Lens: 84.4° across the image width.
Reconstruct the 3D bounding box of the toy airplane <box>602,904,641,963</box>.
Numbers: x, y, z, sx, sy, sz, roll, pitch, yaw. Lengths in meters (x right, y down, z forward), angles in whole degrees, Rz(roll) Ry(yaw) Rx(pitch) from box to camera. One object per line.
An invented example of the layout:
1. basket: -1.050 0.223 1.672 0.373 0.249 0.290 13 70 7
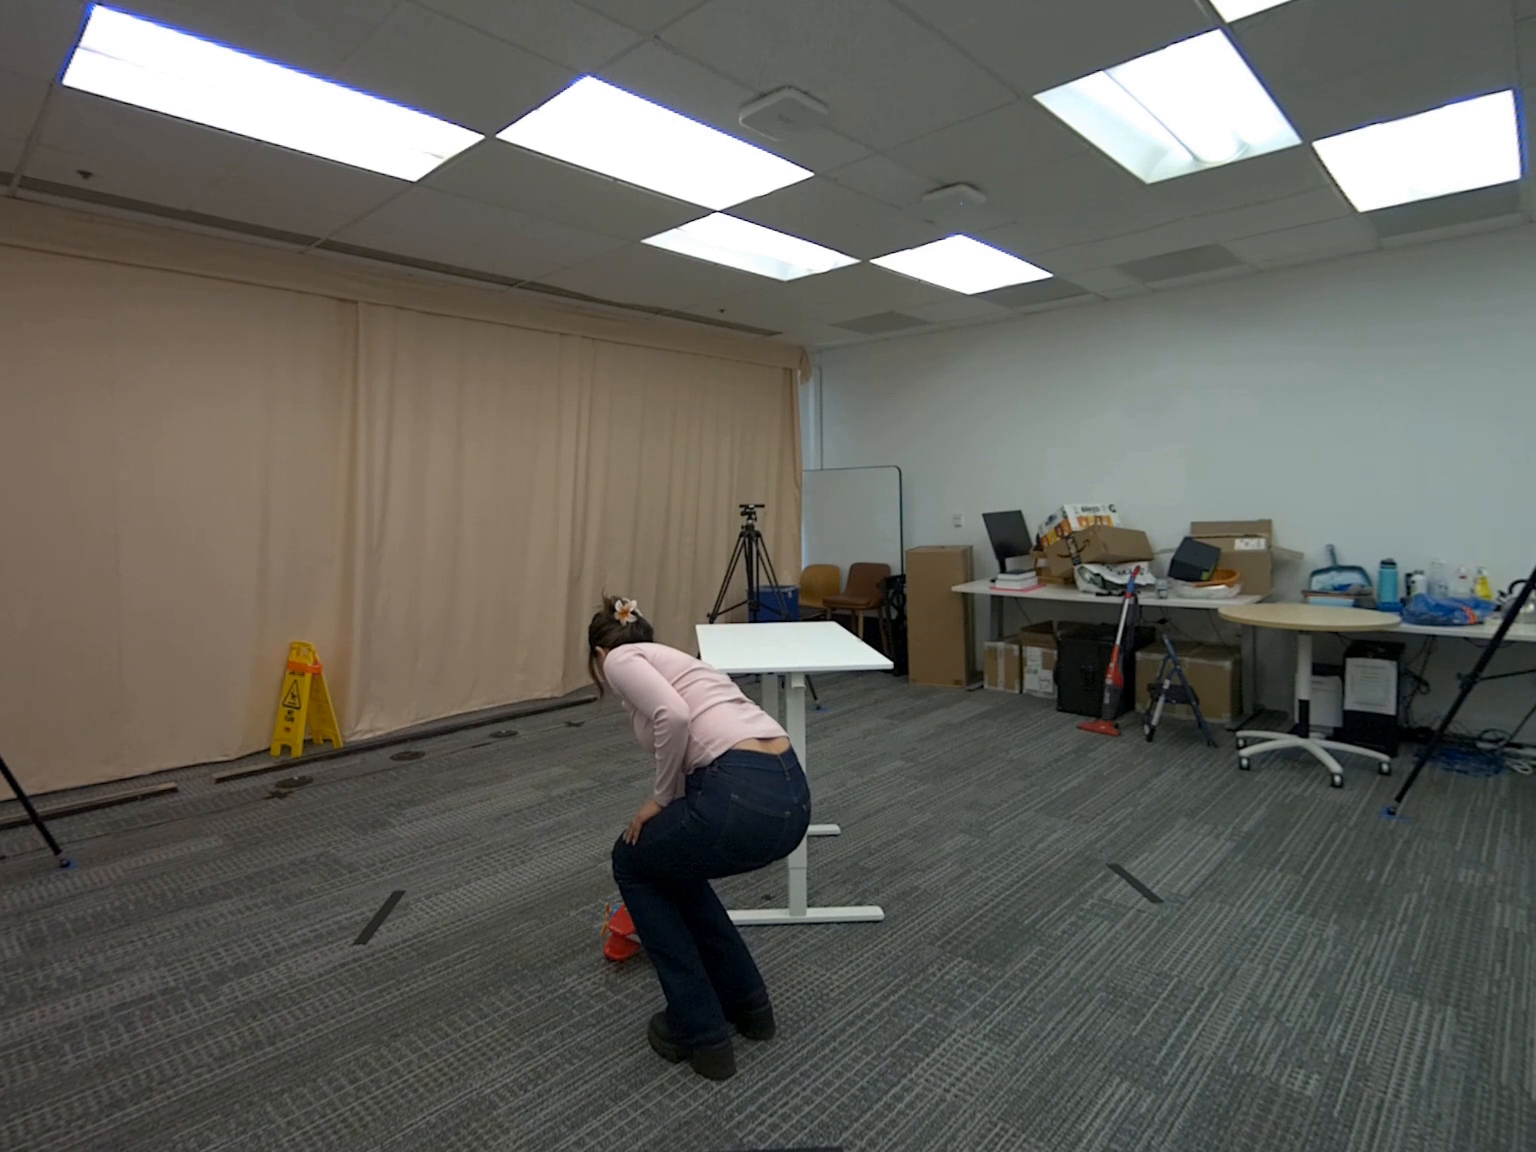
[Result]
1. toy airplane: -0.381 1.107 2.613 0.257 0.156 0.254 -3 4 -10
